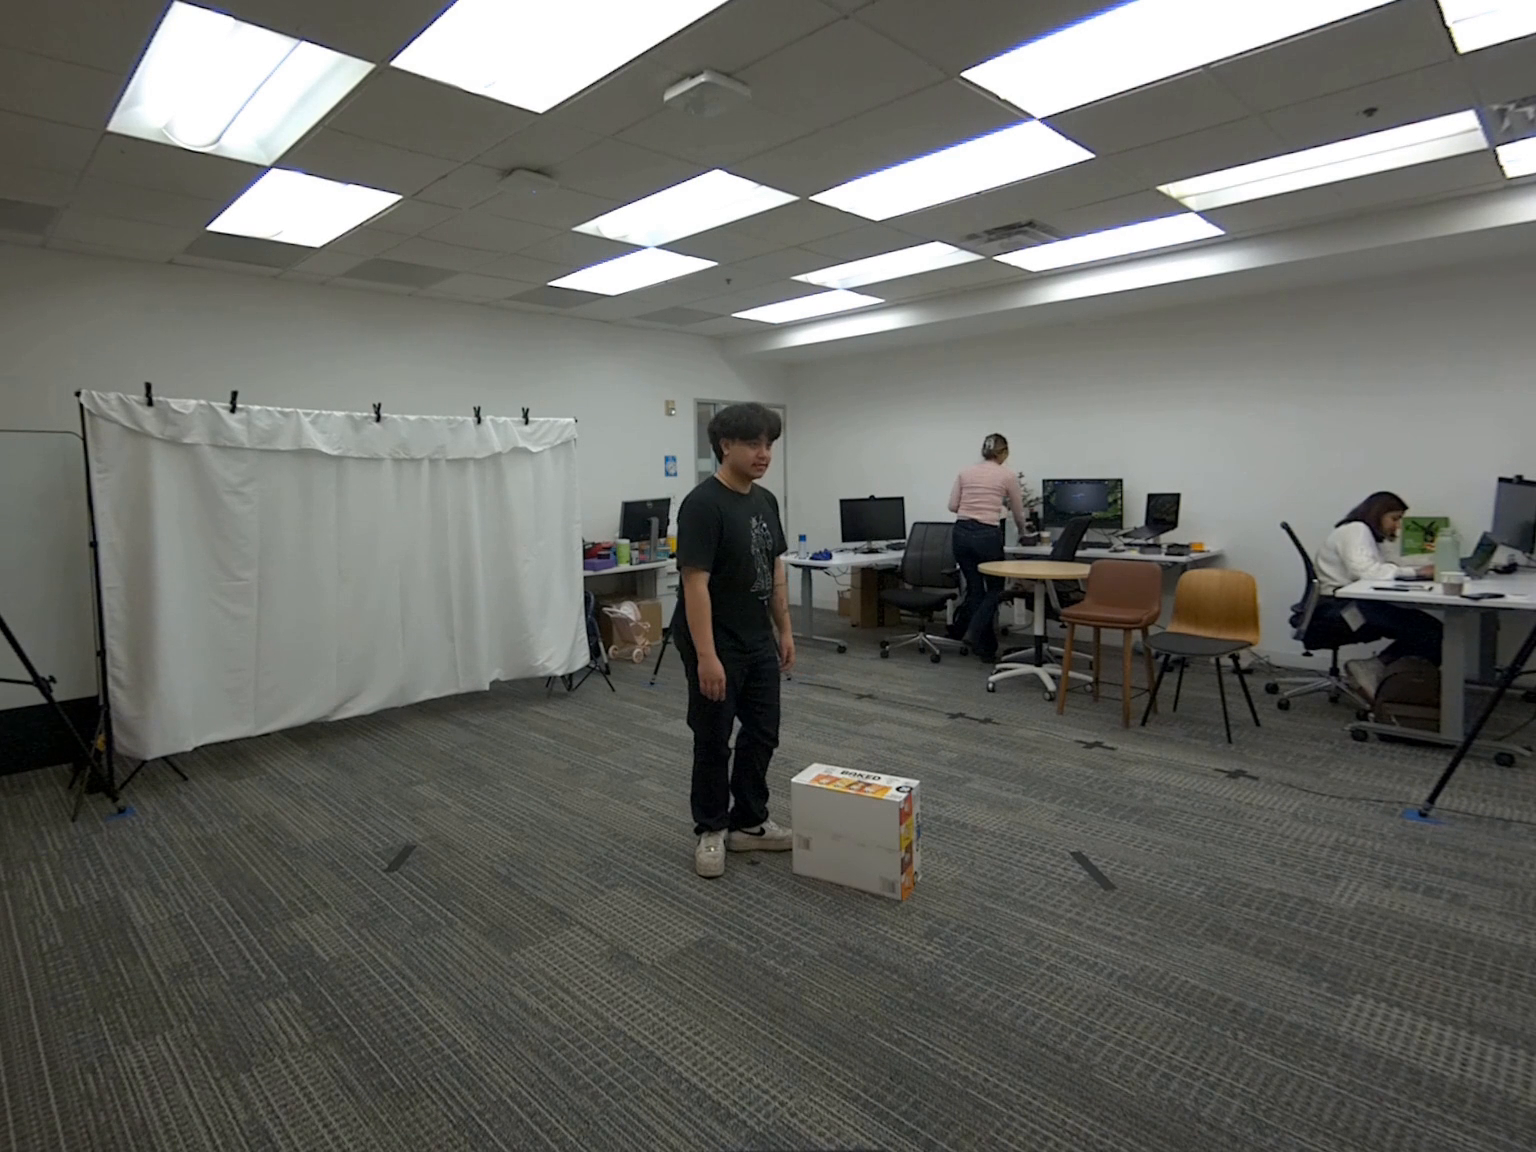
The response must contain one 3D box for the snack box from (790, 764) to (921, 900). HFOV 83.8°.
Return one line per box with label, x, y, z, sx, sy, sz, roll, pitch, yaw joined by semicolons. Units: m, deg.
snack box;0.308;0.880;2.980;0.416;0.339;0.201;2;5;31
